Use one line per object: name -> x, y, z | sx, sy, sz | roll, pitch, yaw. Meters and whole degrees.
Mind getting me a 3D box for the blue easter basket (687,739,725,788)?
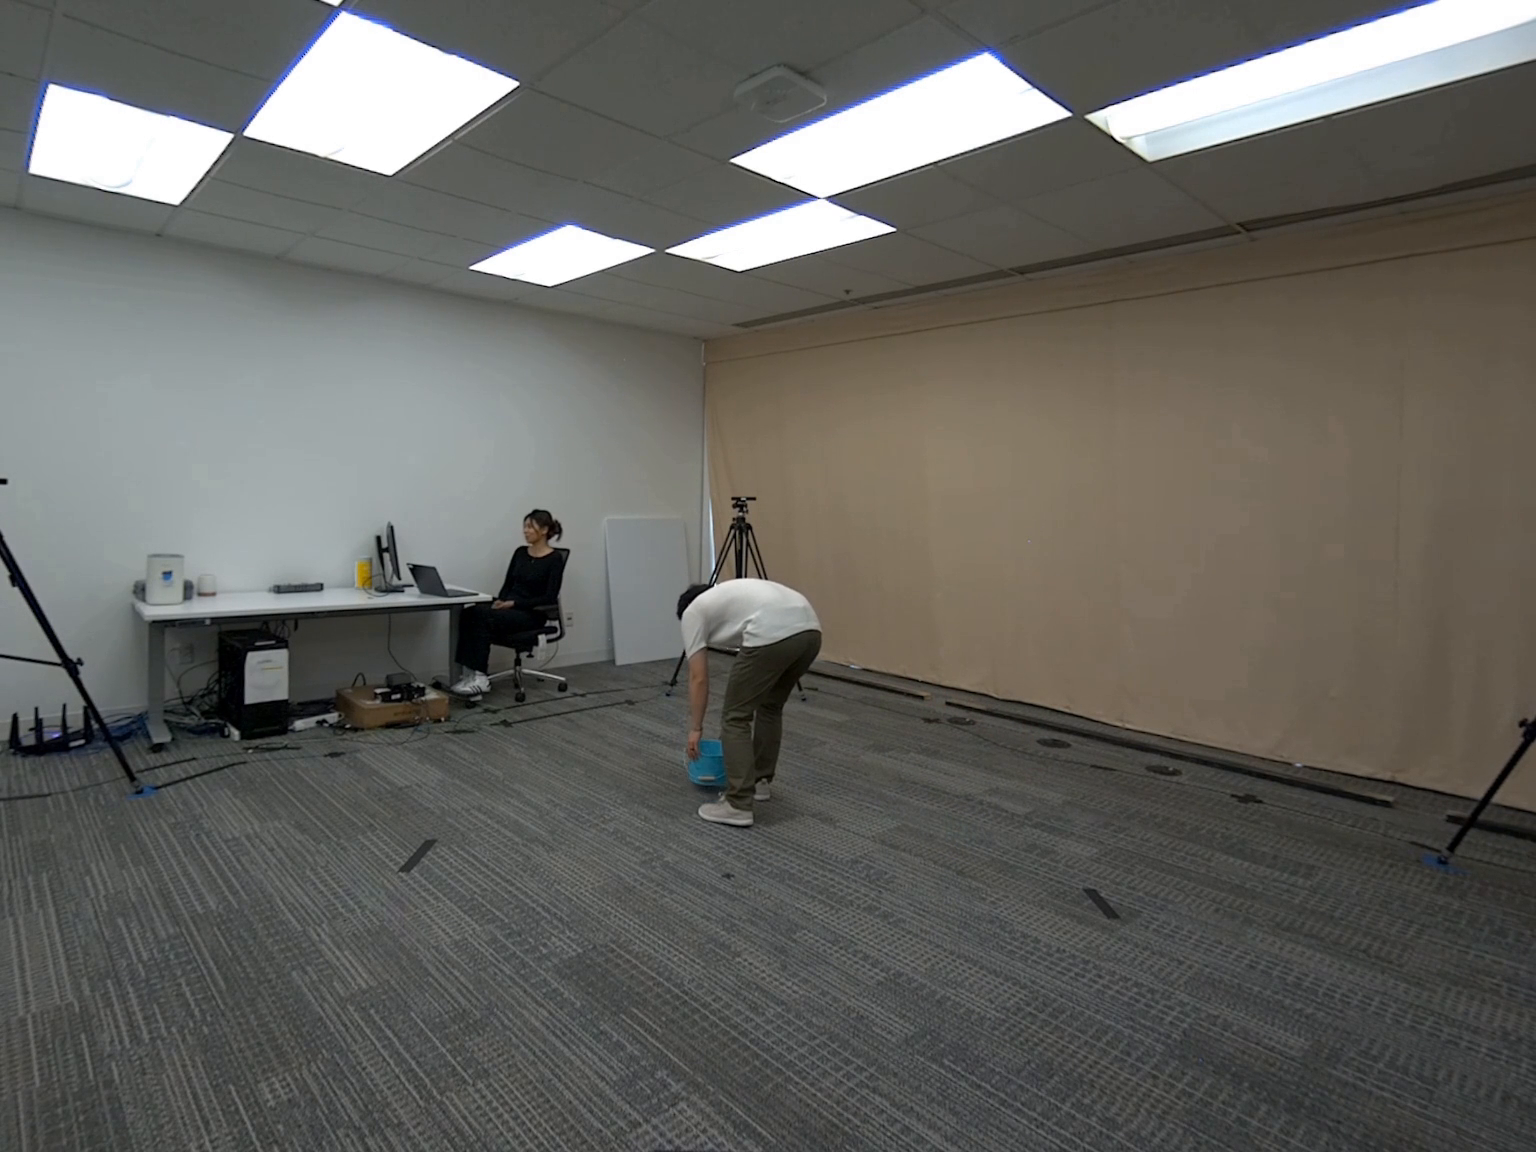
blue easter basket -> -0.292, 0.892, 4.038 | 0.243, 0.155, 0.245 | 4, 6, -2
